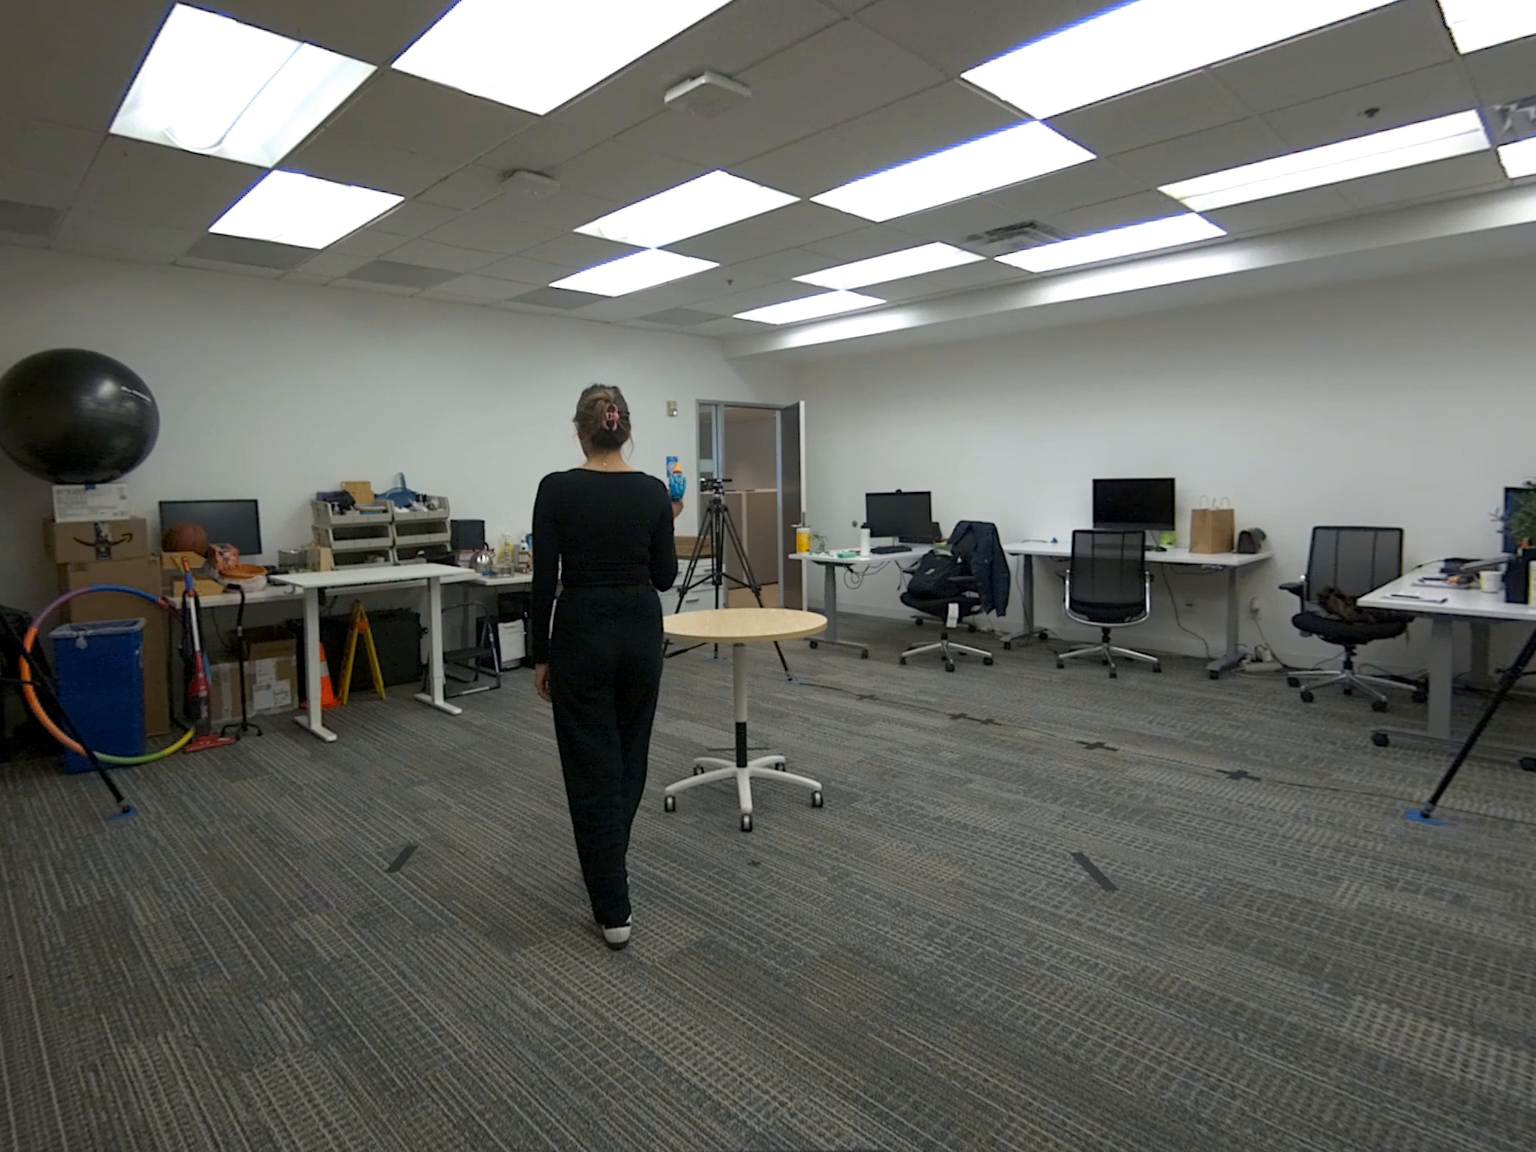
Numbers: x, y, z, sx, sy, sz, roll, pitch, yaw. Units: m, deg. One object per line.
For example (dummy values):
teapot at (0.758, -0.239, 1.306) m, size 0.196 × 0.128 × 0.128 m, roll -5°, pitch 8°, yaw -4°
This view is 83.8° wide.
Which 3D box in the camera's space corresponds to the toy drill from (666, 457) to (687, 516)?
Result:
toy drill at (-0.325, -0.316, 3.001) m, size 0.060 × 0.174 × 0.145 m, roll 8°, pitch -35°, yaw -20°
